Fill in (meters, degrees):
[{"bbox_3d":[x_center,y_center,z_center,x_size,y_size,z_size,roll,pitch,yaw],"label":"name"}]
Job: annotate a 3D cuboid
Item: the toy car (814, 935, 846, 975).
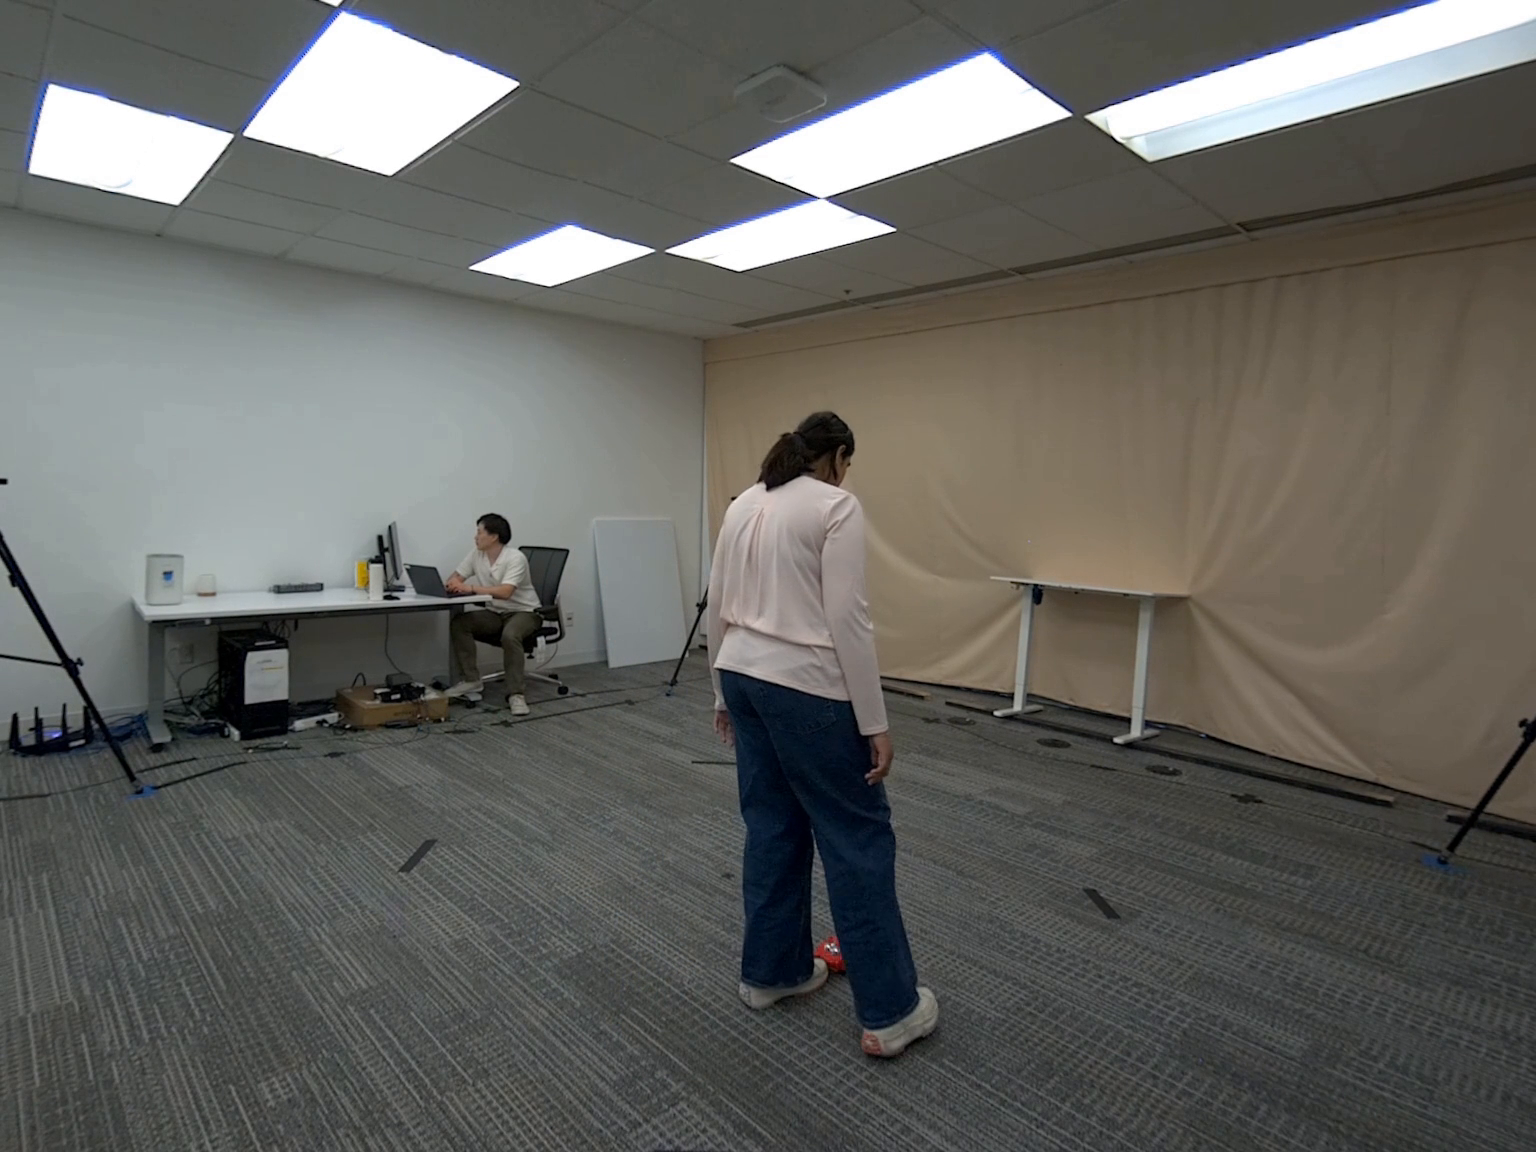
[{"bbox_3d":[0.235,1.137,2.549,0.134,0.083,0.247,7,-4,42],"label":"toy car"}]
